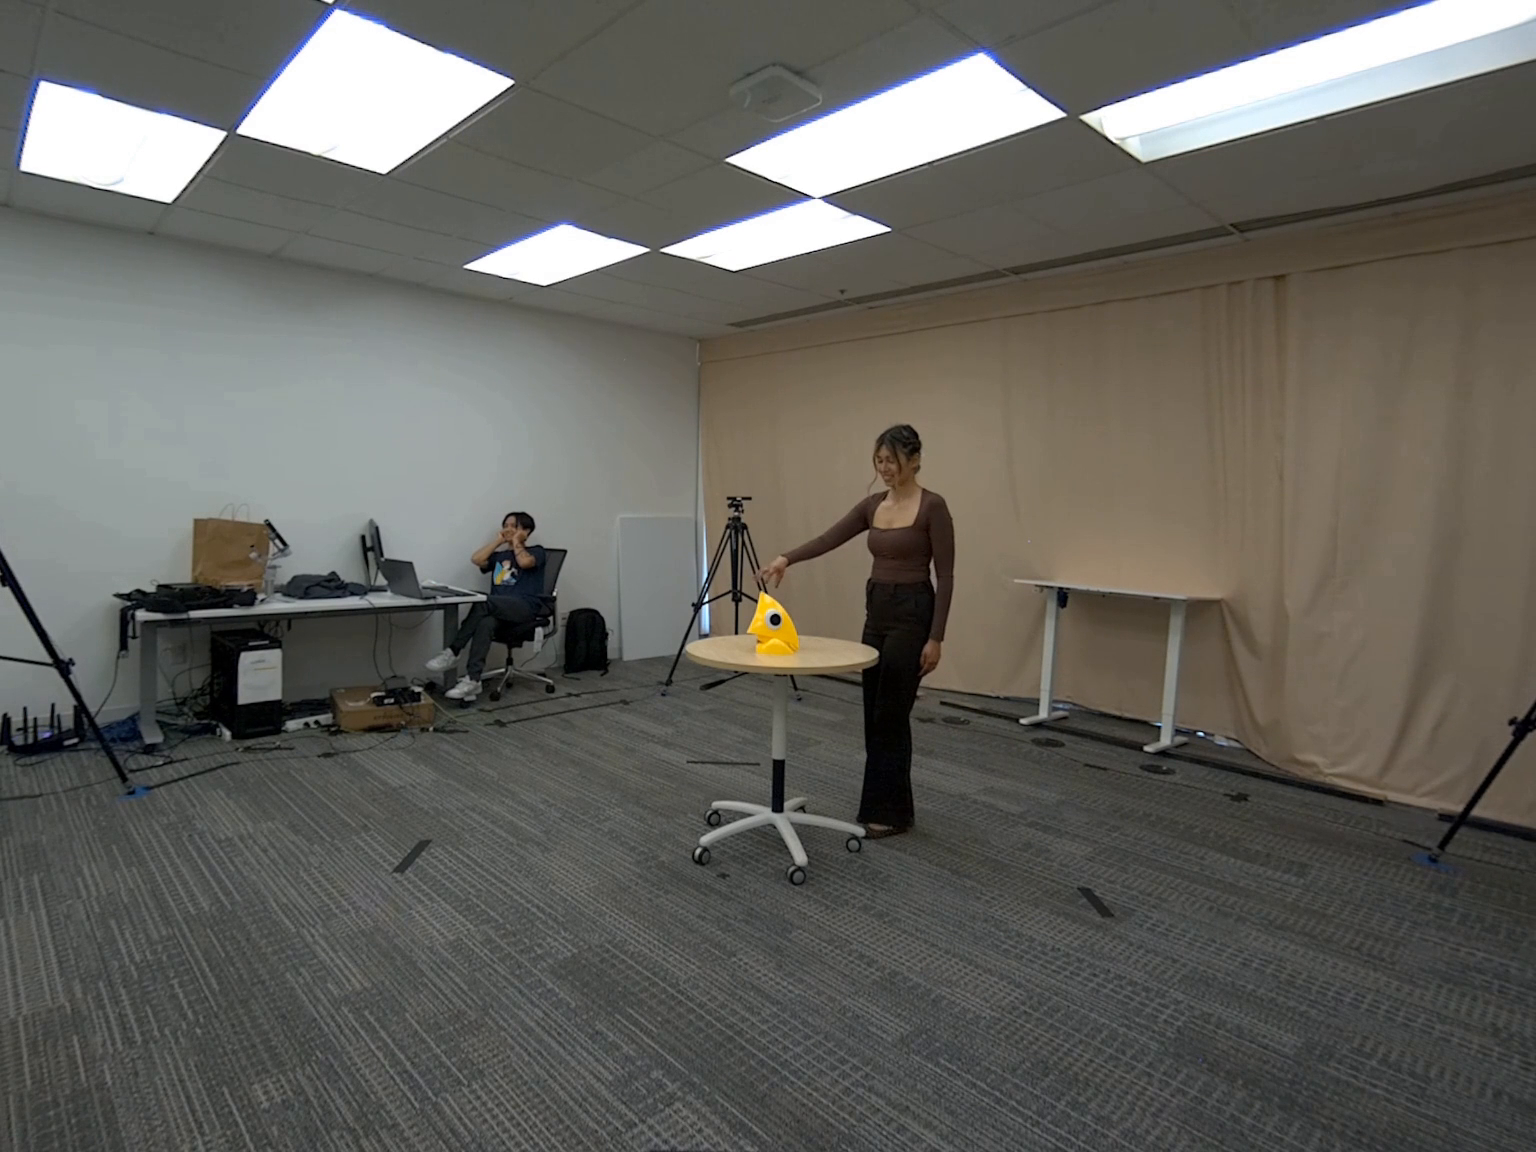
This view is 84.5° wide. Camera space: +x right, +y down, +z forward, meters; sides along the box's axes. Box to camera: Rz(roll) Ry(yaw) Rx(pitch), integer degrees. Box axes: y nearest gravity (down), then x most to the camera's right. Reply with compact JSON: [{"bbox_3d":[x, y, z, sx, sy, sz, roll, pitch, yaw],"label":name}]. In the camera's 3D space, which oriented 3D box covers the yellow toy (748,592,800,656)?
[{"bbox_3d":[0.022,0.178,3.323,0.195,0.230,0.203,2,4,12],"label":"yellow toy"}]
